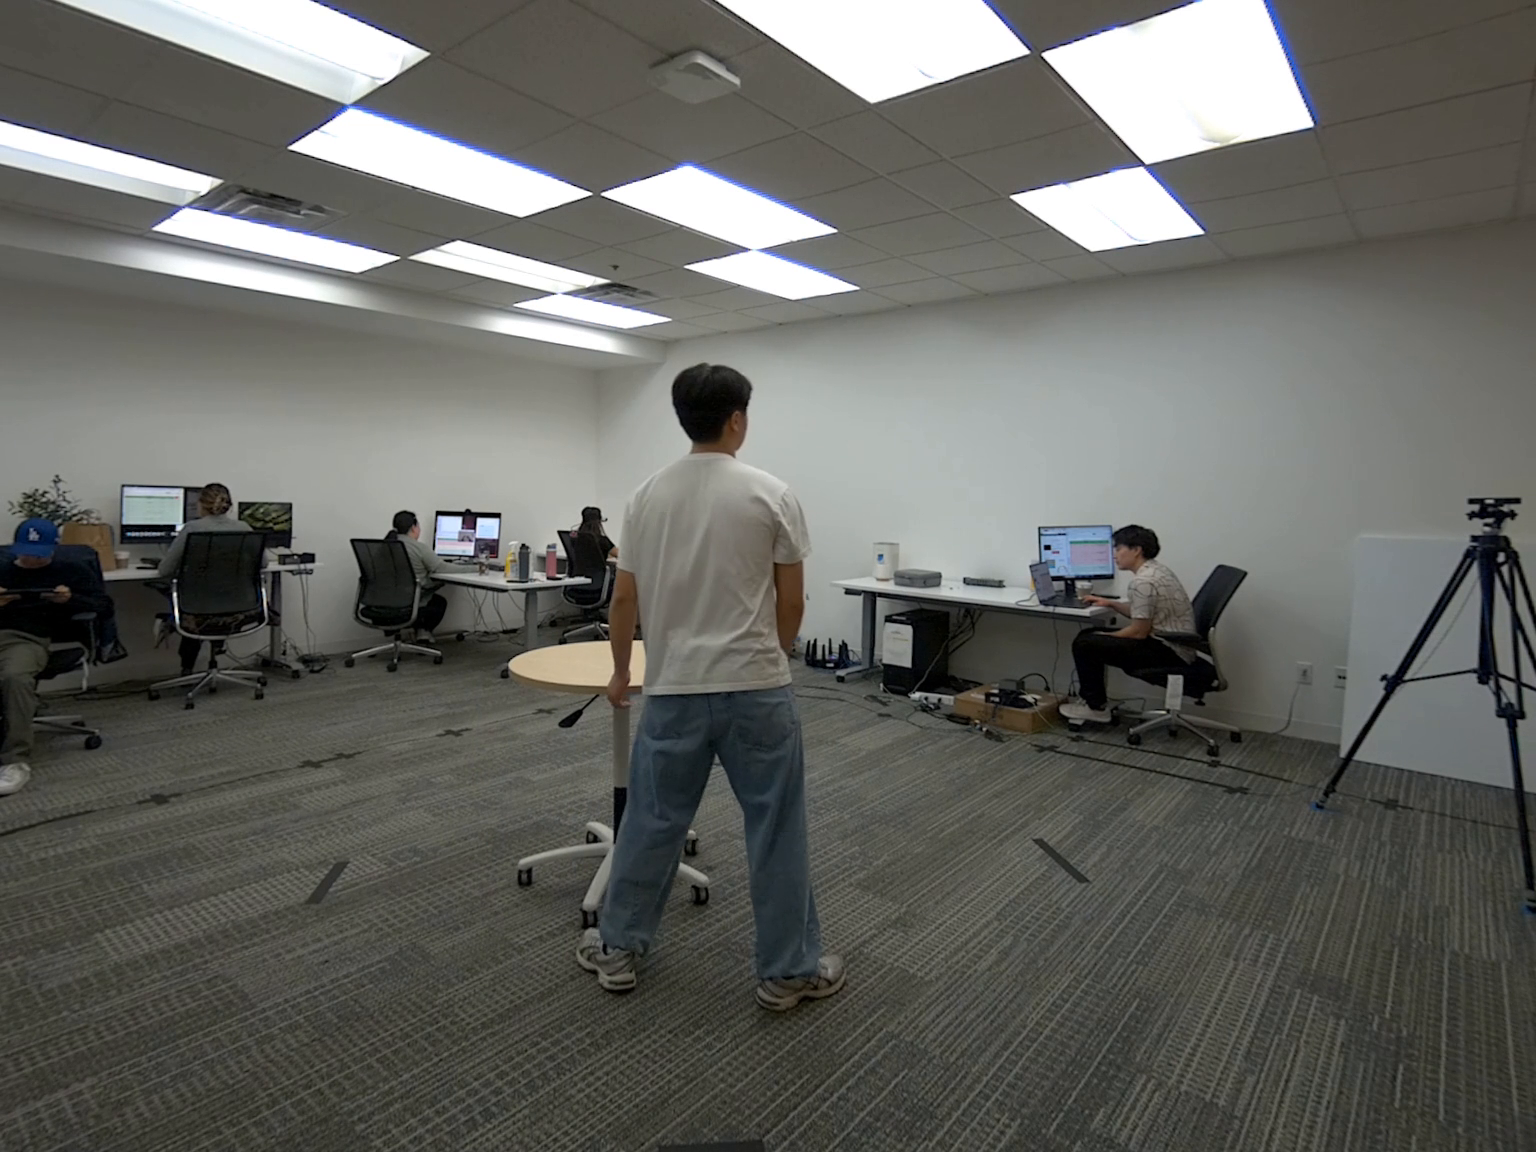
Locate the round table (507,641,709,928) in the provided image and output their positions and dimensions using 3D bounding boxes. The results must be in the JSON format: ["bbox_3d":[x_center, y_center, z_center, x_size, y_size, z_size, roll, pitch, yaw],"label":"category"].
[{"bbox_3d":[-0.528,0.682,2.976,0.763,0.791,0.768,0,4,-2],"label":"round table"}]
